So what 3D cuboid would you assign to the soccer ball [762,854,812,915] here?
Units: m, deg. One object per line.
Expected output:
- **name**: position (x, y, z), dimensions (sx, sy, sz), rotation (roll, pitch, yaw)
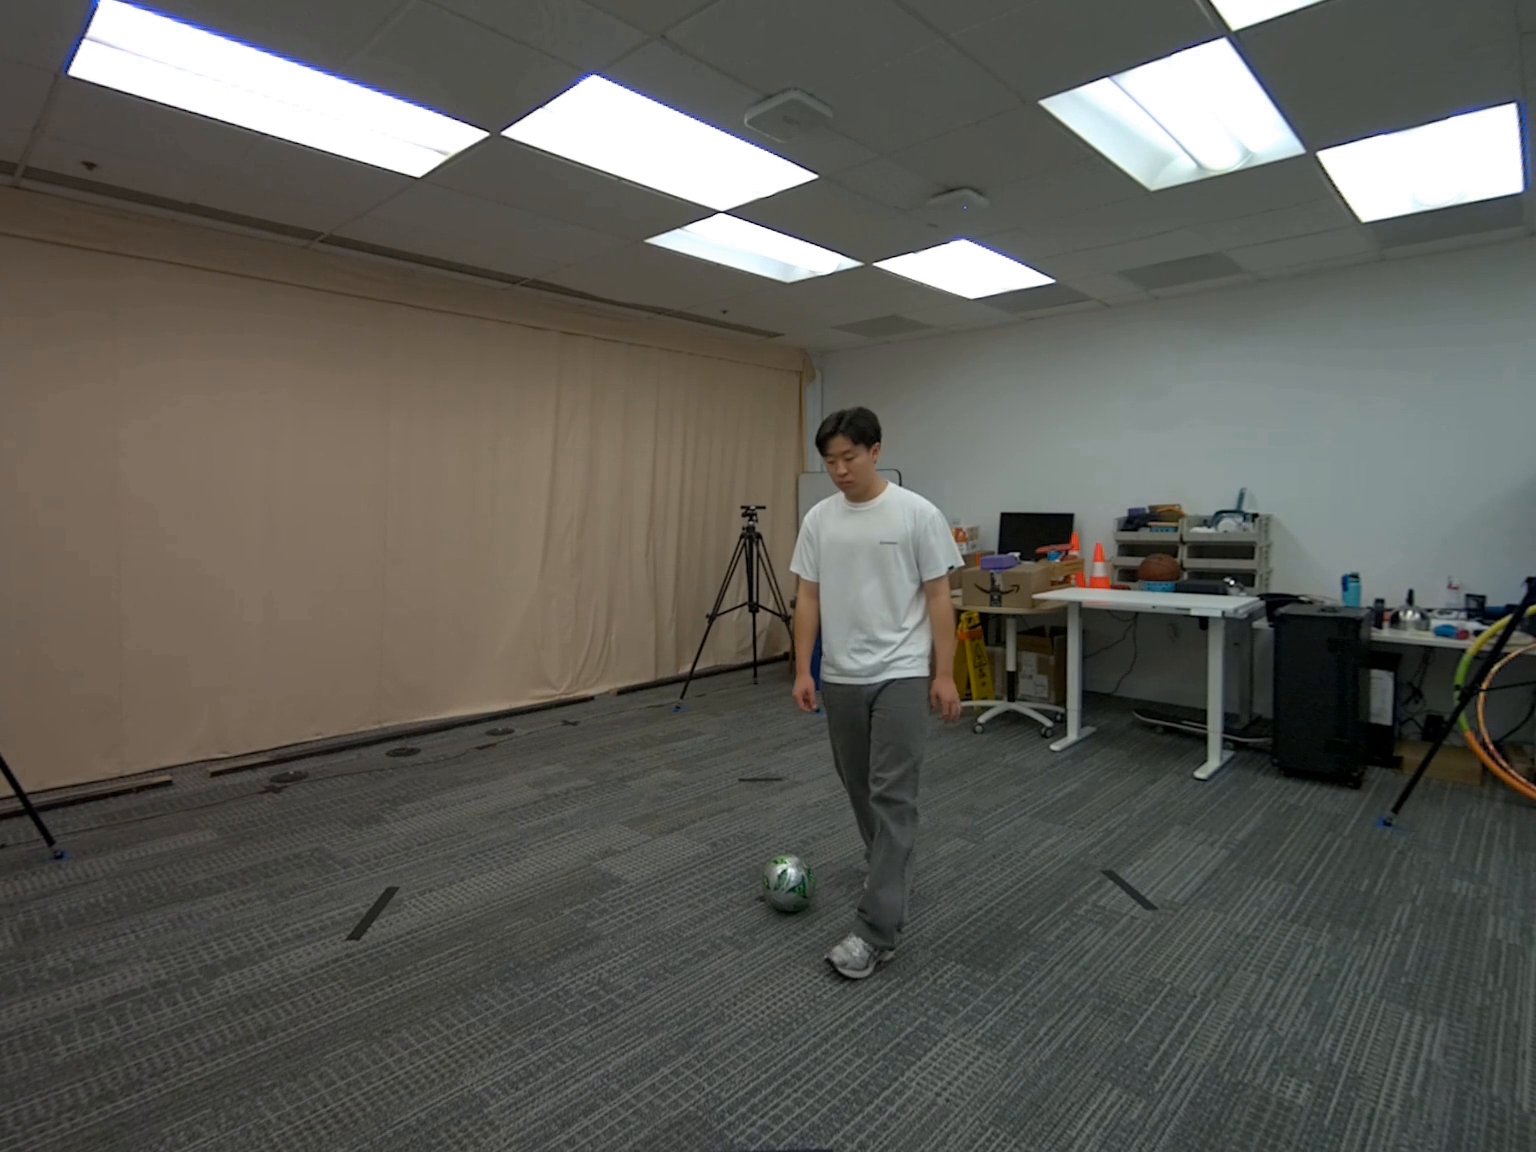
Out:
- **soccer ball**: position (0.076, 1.058, 2.904), dimensions (0.187, 0.187, 0.188), rotation (0, 4, -2)
